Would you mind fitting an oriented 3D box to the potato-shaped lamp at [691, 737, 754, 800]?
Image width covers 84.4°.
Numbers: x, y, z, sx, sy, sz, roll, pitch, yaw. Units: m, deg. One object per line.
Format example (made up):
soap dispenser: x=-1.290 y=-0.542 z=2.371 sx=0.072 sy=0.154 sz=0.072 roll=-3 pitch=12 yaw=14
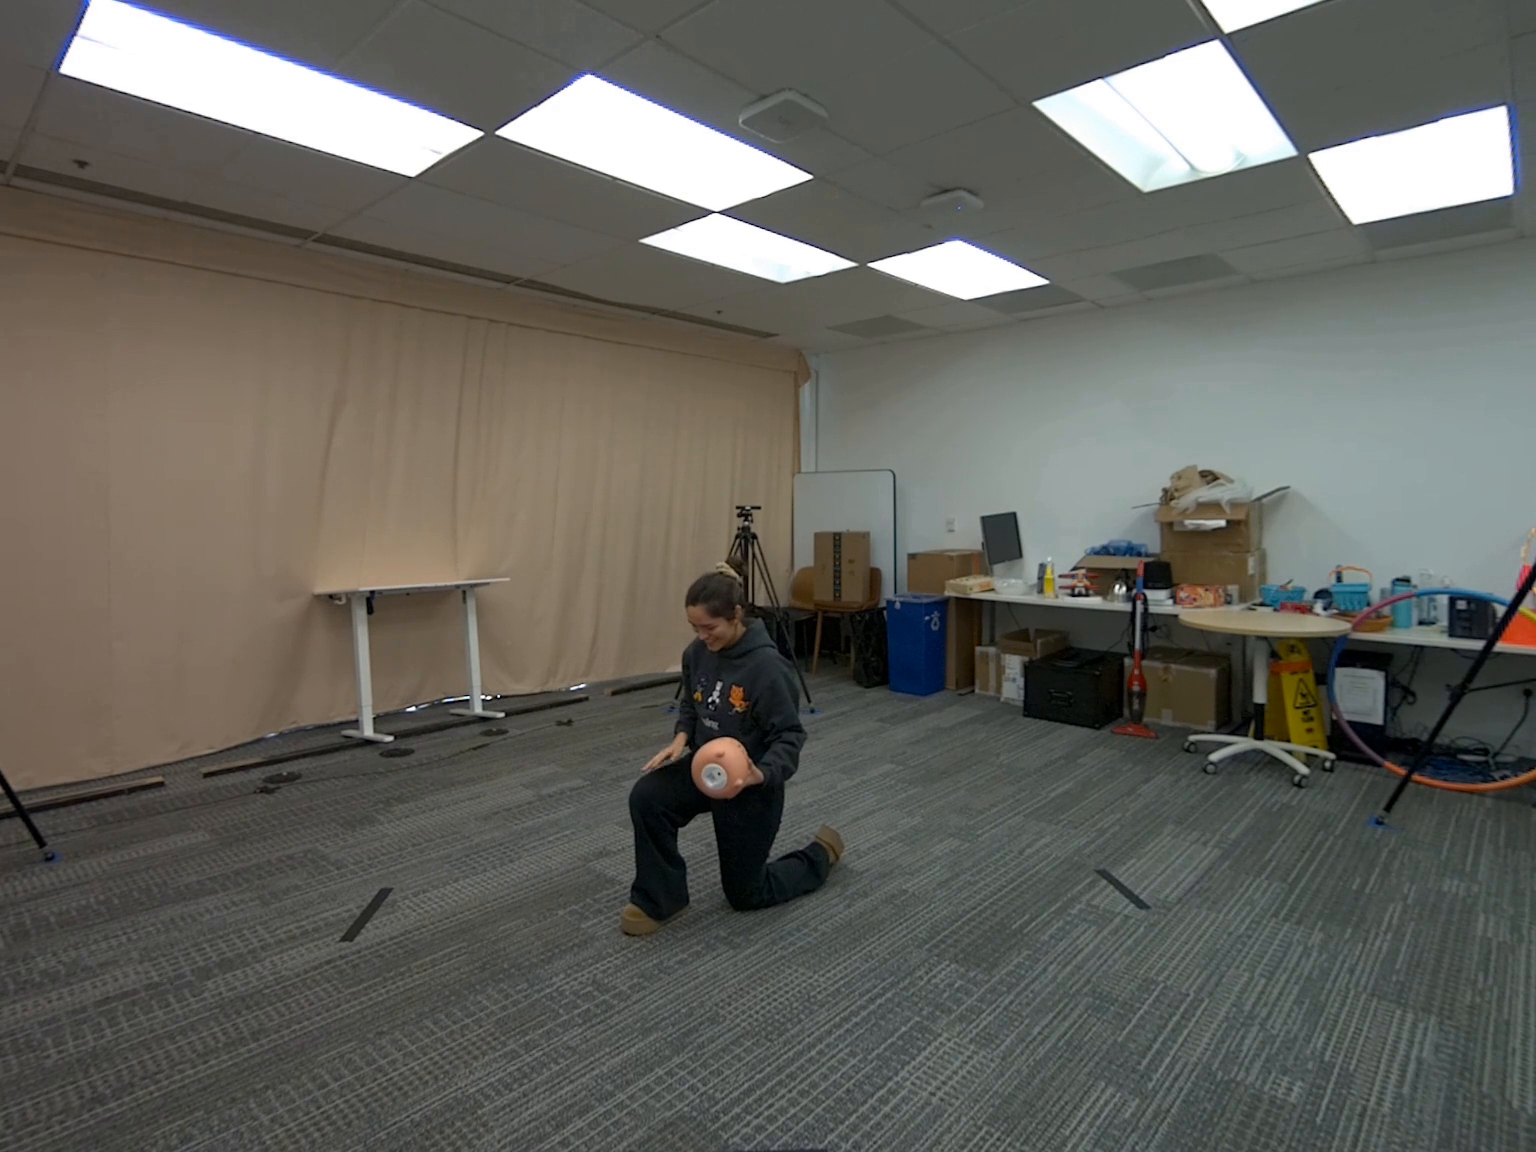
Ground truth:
potato-shaped lamp: x=-0.122 y=0.557 z=2.511 sx=0.173 sy=0.165 sz=0.195 roll=-33 pitch=-1 yaw=23
